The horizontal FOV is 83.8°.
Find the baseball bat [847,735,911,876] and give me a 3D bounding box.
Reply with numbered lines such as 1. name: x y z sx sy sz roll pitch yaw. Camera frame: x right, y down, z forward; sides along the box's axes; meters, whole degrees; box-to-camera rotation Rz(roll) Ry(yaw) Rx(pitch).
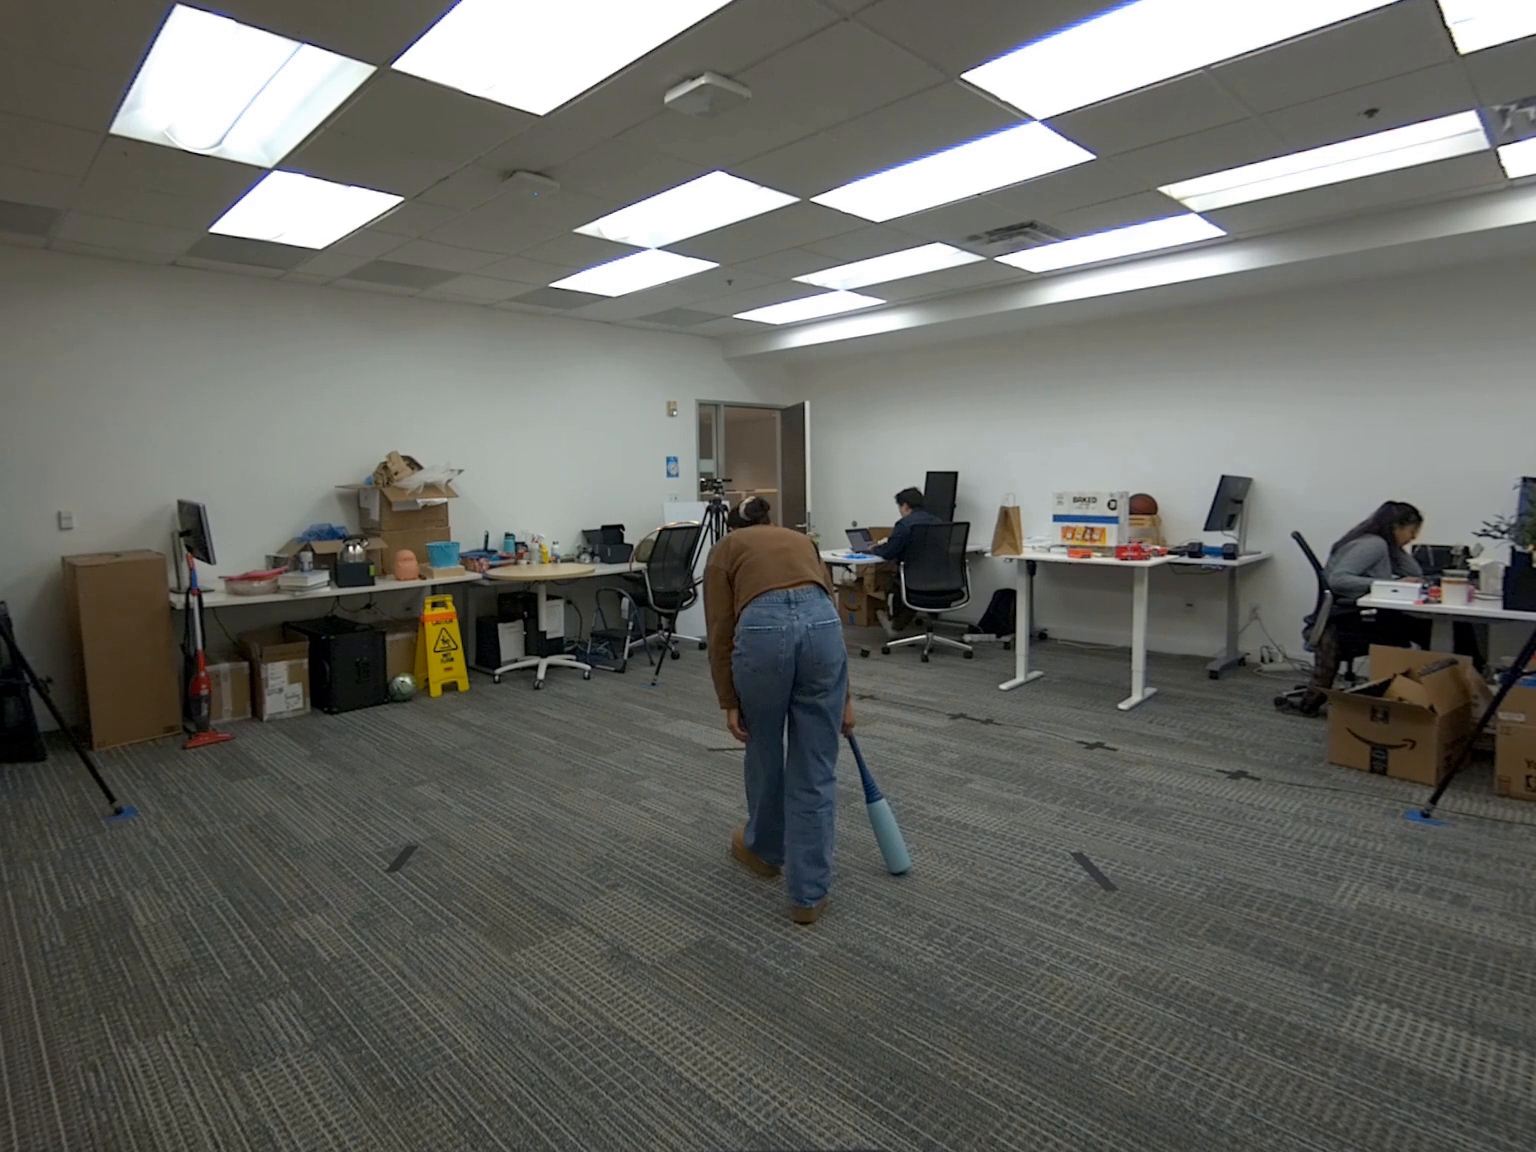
1. baseball bat: 0.376 0.788 3.057 0.089 0.550 0.088 -19 -11 -5
